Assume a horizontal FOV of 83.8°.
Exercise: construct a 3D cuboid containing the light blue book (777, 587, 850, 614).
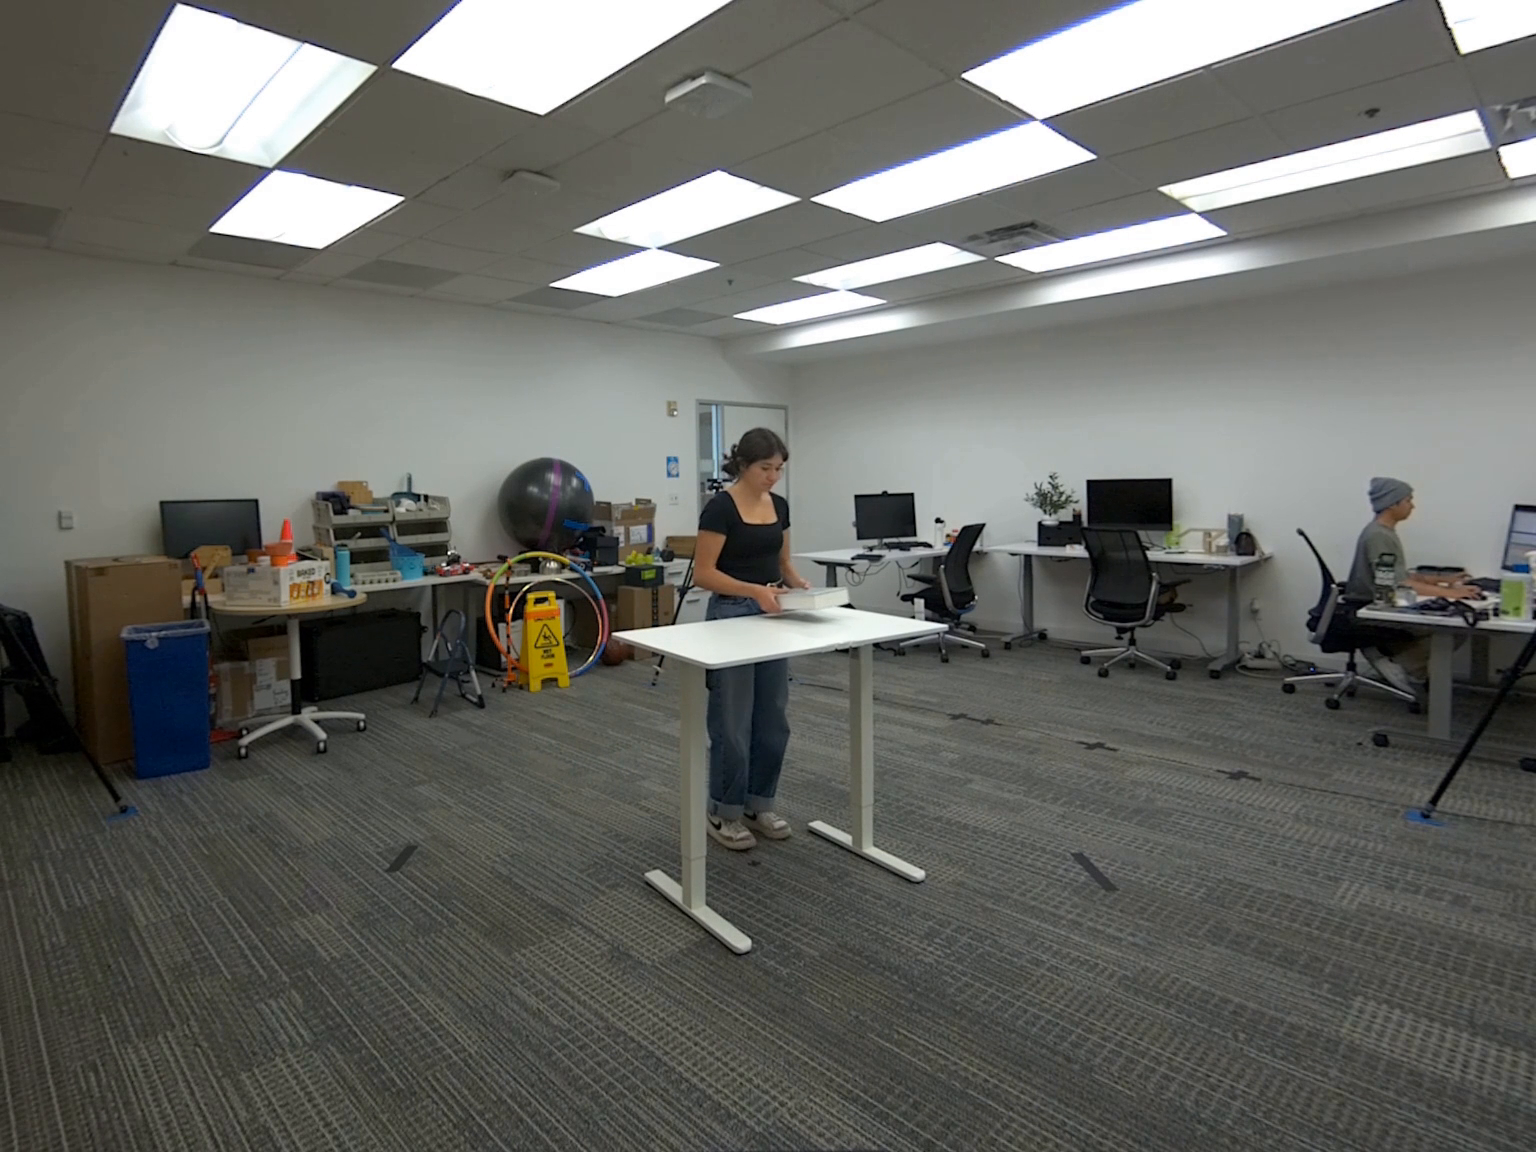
[{"bbox_3d":[0.137,0.088,3.134,0.186,0.059,0.268,-9,5,-44],"label":"light blue book"}]
